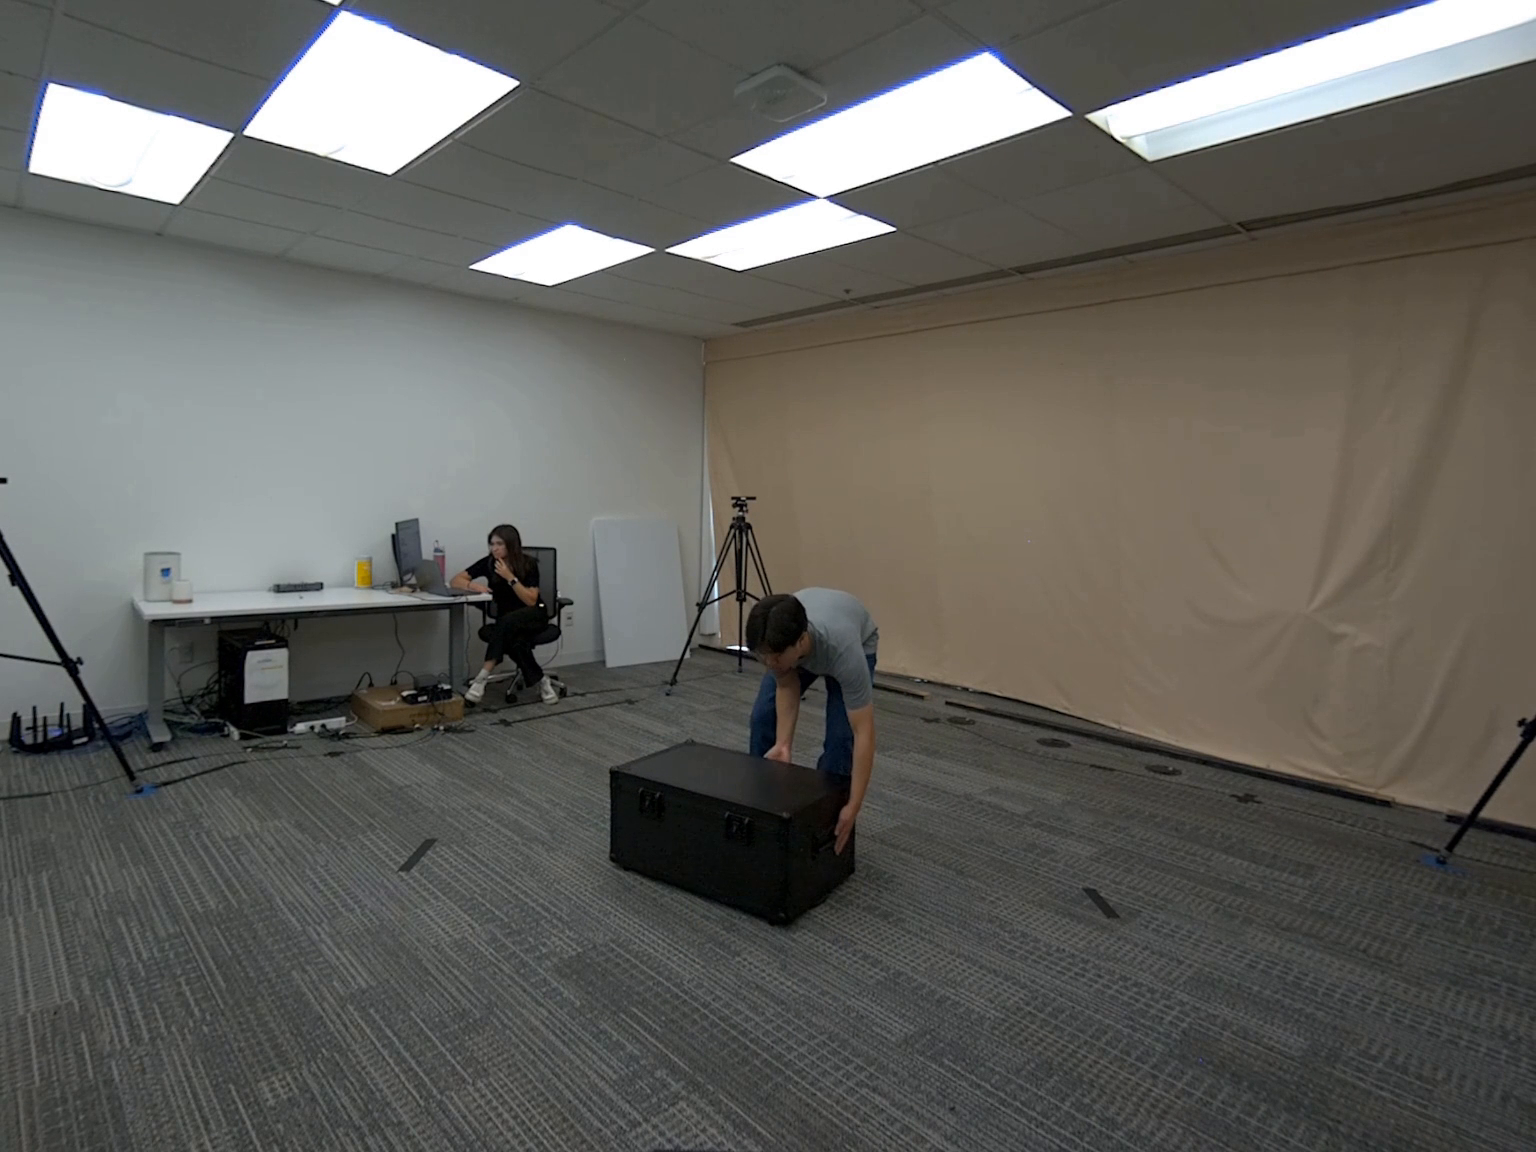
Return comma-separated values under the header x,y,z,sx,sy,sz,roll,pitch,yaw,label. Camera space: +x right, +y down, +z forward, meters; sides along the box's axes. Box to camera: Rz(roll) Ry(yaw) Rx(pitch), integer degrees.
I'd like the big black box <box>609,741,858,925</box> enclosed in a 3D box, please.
x,y,z,sx,sy,sz,roll,pitch,yaw,label
-0.166,0.911,3.131,0.882,0.395,0.510,6,6,34,big black box
